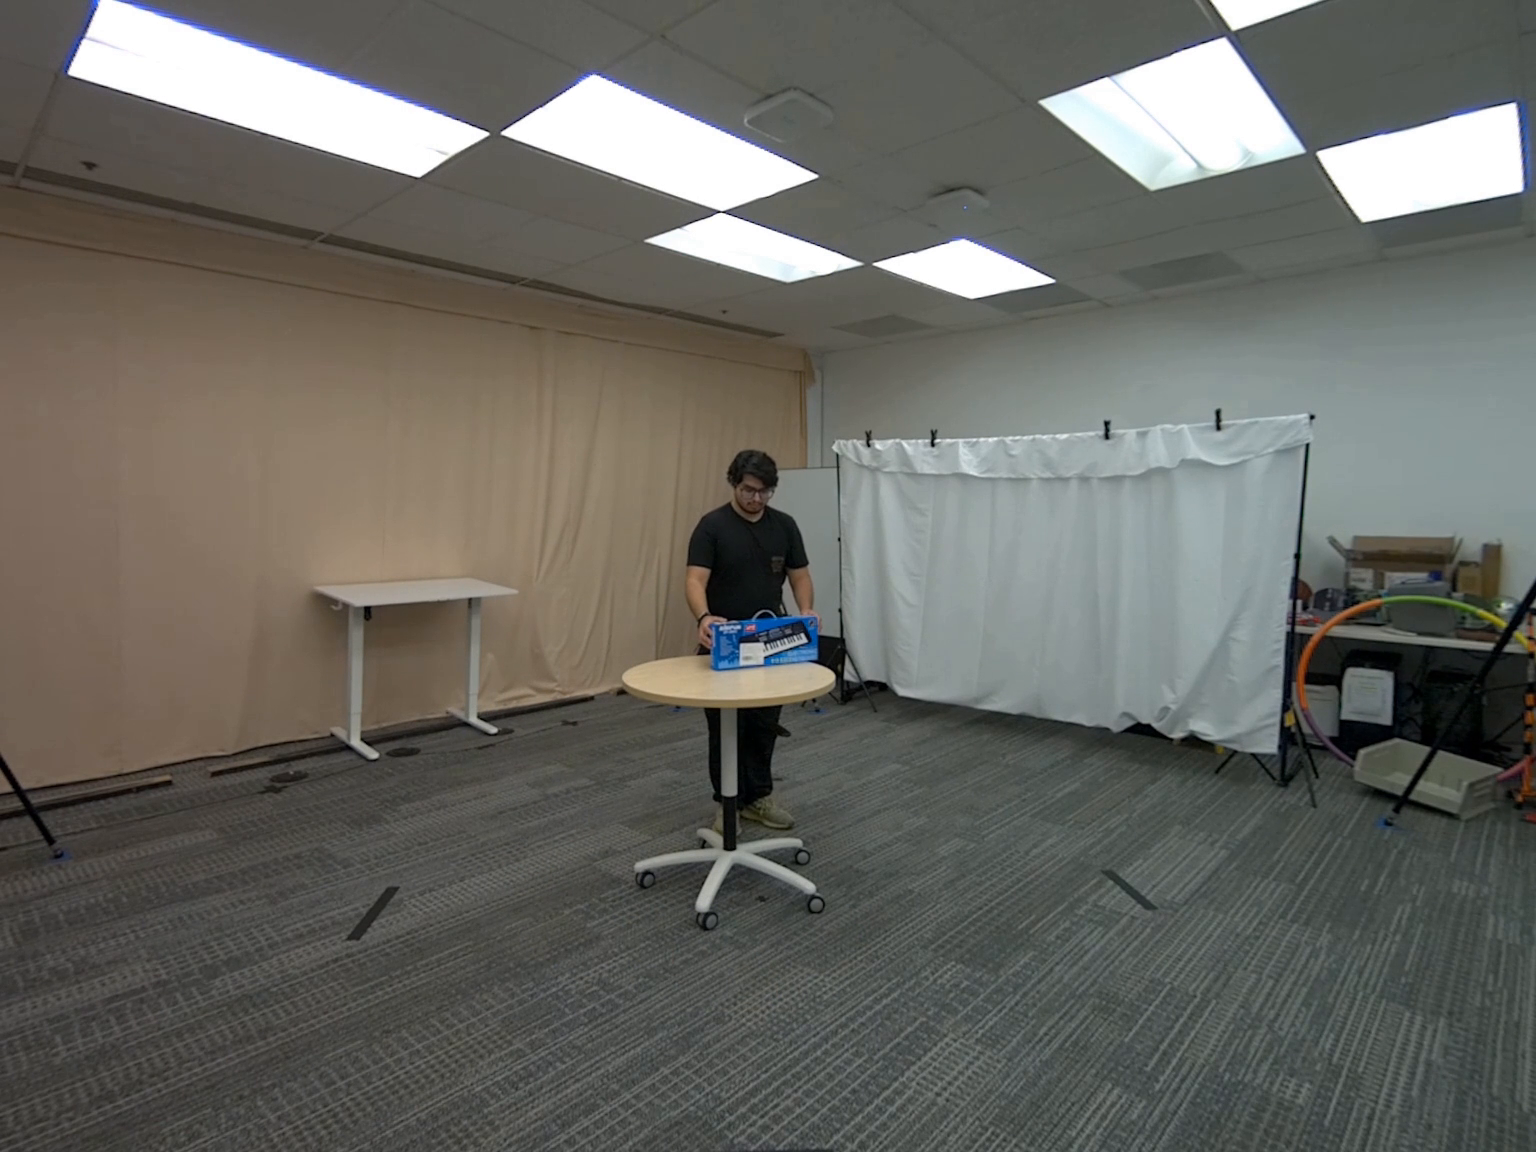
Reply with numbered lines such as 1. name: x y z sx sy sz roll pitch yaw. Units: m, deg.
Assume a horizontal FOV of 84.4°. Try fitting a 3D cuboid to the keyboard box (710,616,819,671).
1. keyboard box: -0.007 0.253 3.206 0.426 0.176 0.060 -3 1 -25
